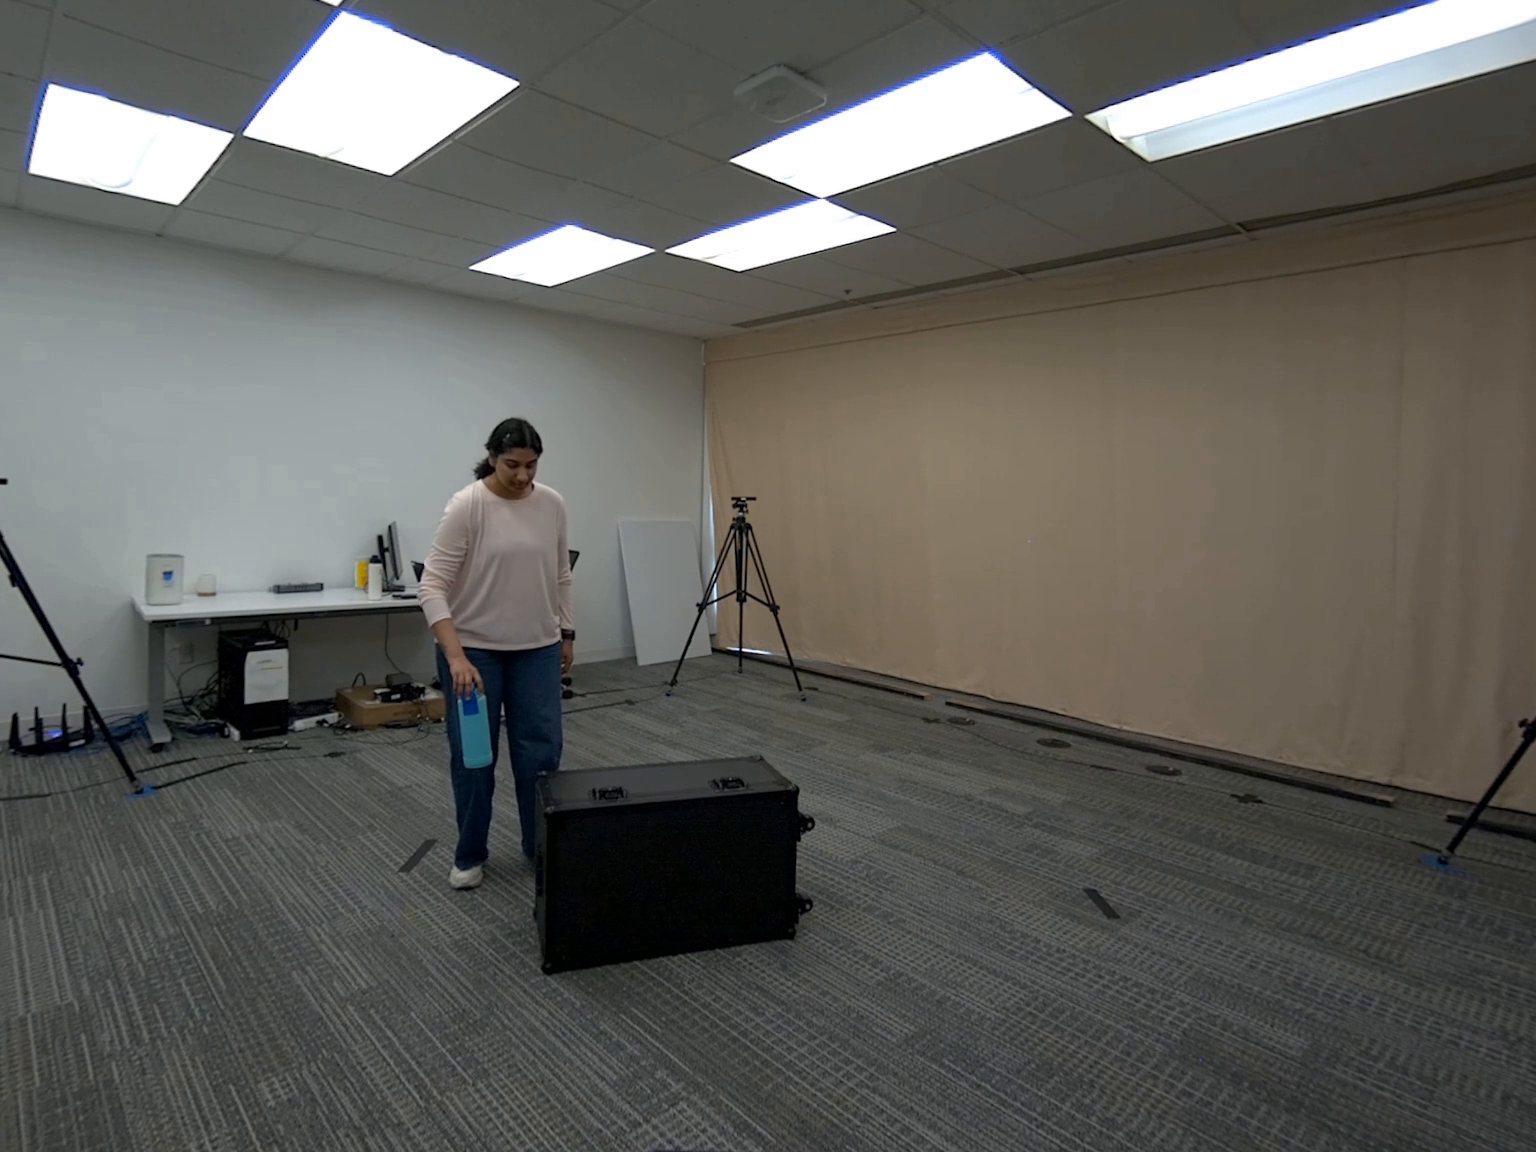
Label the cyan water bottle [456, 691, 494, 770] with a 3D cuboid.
[{"bbox_3d":[-0.980,0.483,2.736,0.092,0.282,0.093,-5,6,-1],"label":"cyan water bottle"}]
